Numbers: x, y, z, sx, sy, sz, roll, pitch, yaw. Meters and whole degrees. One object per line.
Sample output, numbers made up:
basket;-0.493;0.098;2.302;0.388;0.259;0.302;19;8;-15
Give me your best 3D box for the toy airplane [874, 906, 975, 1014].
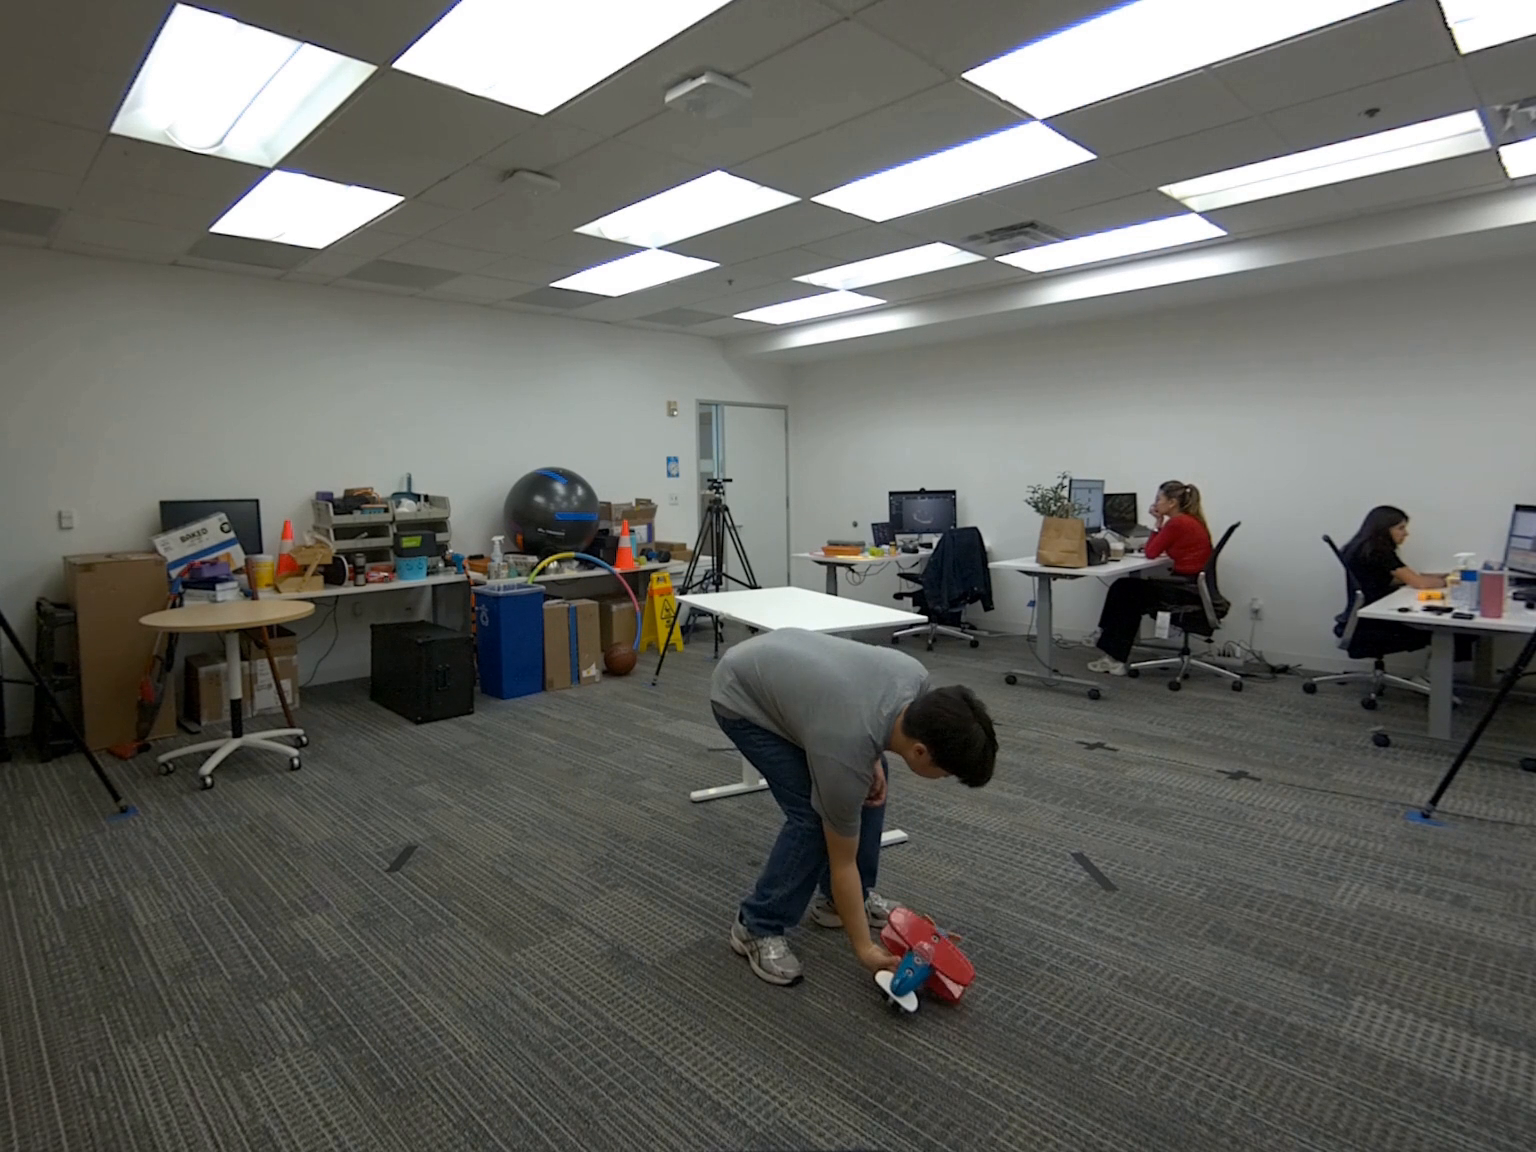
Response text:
toy airplane;0.406;1.041;2.269;0.252;0.155;0.261;23;20;1
